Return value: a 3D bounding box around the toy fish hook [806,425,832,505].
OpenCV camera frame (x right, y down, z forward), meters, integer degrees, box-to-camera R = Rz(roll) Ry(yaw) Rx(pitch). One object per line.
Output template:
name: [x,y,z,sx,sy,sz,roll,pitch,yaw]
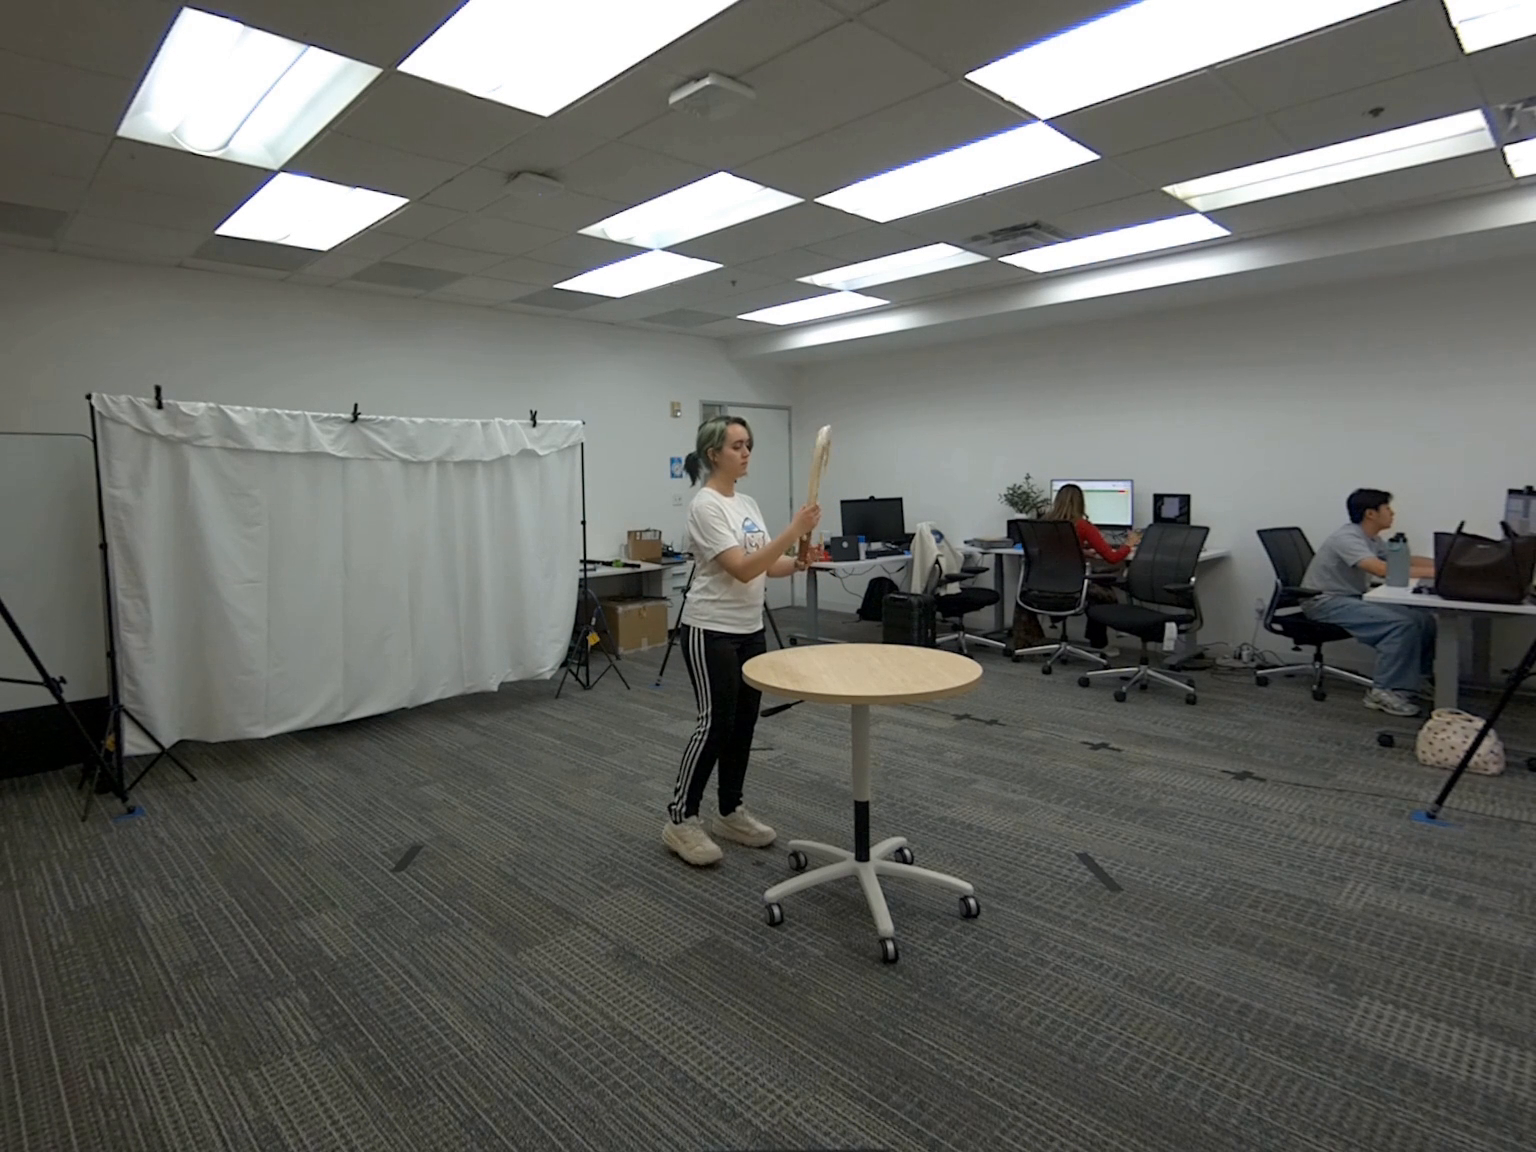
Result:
toy fish hook: [0.169,-0.296,3.096,0.049,0.501,0.223,15,16,14]
